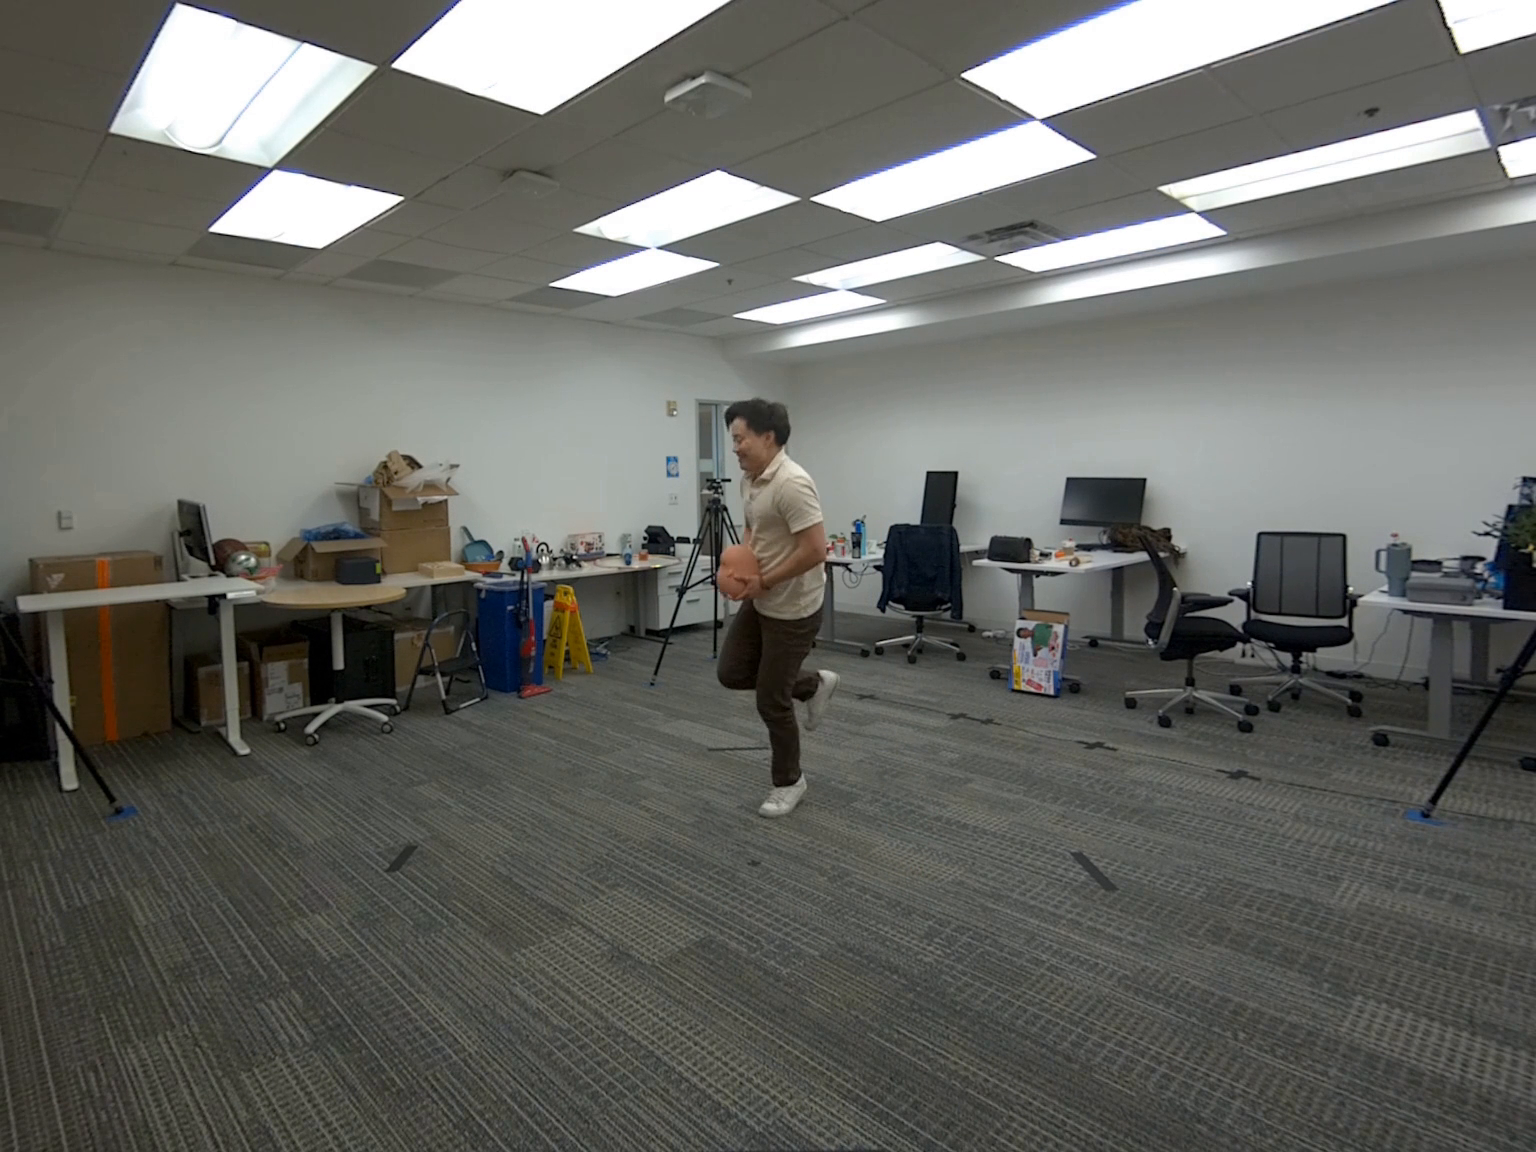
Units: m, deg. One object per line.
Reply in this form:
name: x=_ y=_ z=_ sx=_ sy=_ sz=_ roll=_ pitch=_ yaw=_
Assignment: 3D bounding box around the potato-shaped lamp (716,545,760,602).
potato-shaped lamp: x=-0.116 y=-0.016 z=3.355 sx=0.170 sy=0.195 sz=0.168 roll=-15 pitch=13 yaw=-10
